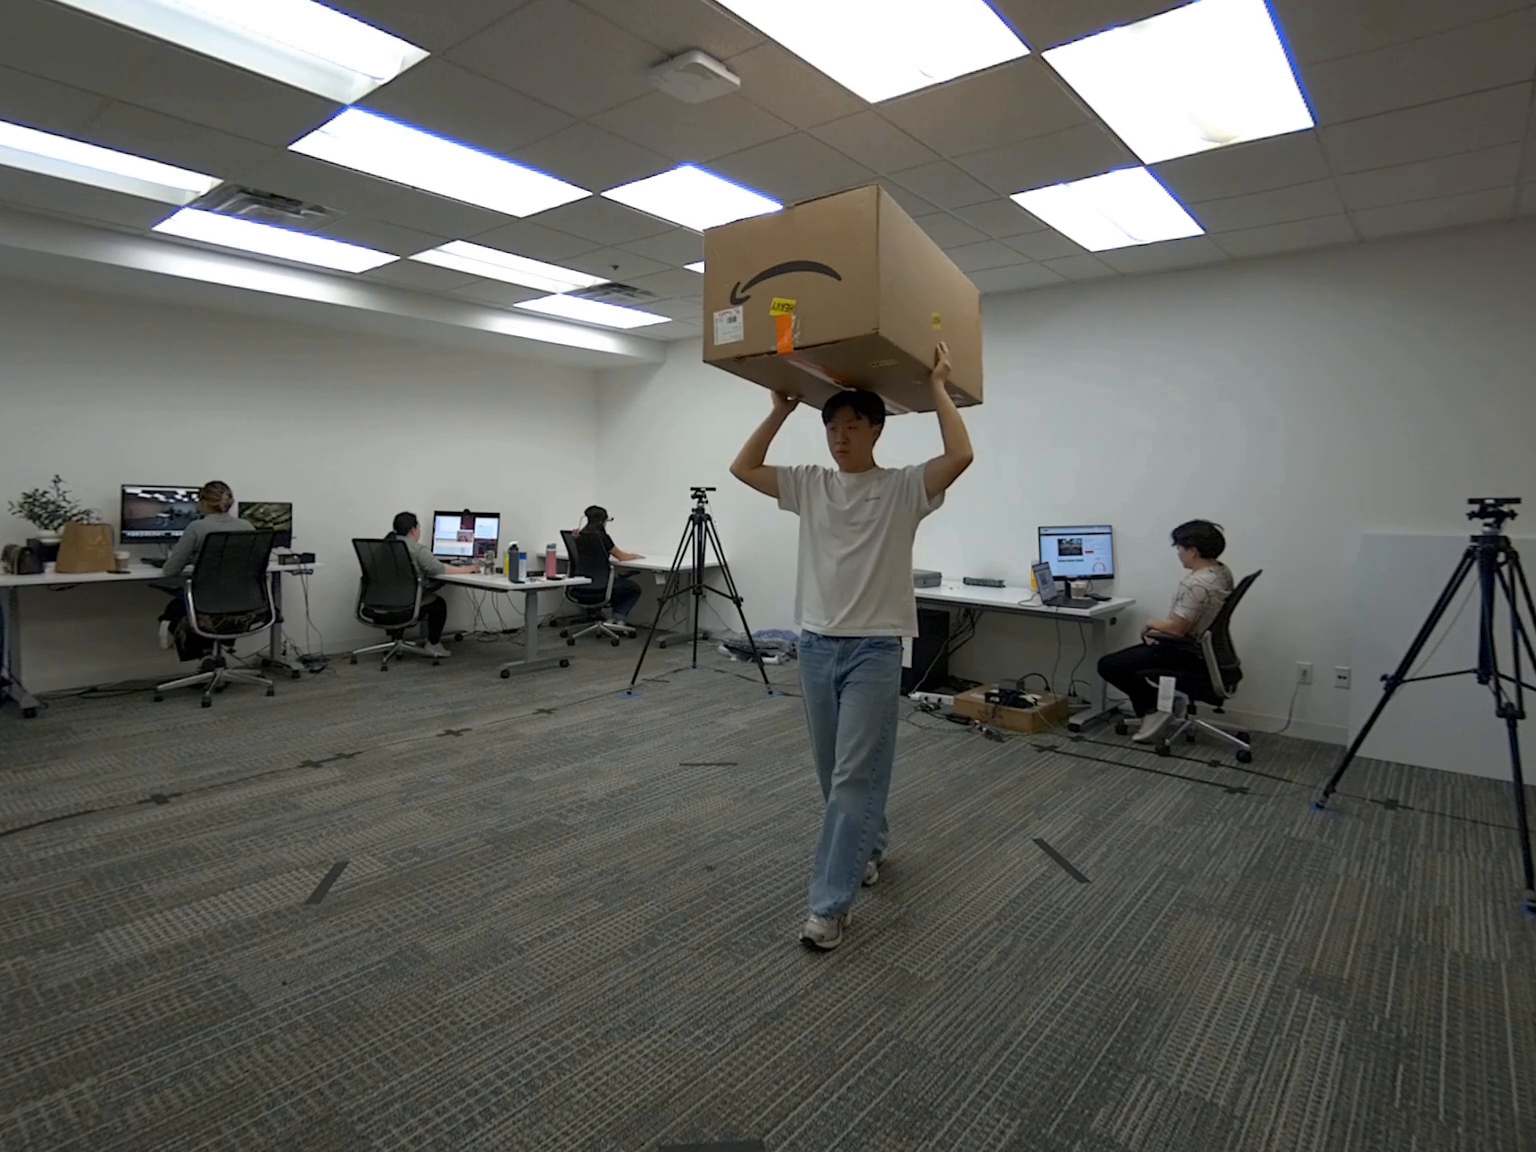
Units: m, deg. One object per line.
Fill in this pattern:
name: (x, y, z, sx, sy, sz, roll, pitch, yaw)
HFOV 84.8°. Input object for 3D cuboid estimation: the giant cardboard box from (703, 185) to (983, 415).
giant cardboard box: (0.286, -0.850, 2.876, 0.594, 0.427, 0.995, -1, -2, 30)
